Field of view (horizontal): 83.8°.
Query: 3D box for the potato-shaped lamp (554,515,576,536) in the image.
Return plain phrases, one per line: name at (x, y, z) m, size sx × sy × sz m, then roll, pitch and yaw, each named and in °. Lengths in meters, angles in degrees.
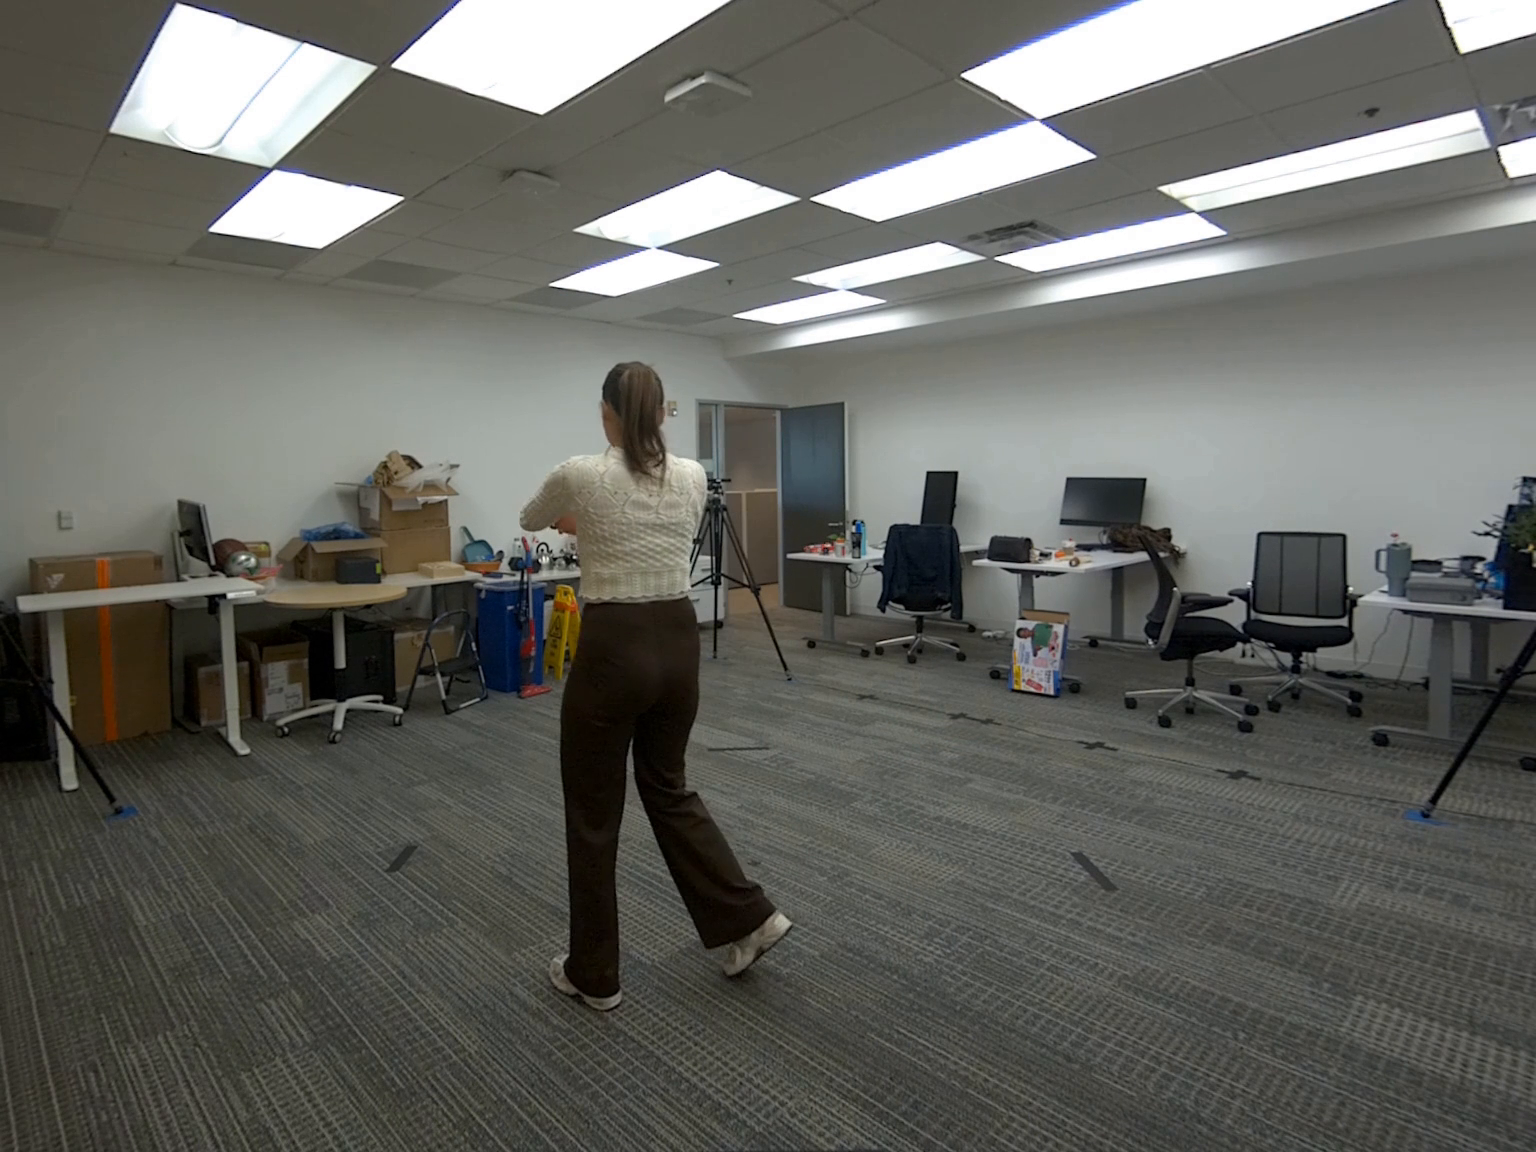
potato-shaped lamp at (-0.608, -0.250, 2.810) m, size 0.167 × 0.197 × 0.169 m, roll 8°, pitch 4°, yaw 11°
